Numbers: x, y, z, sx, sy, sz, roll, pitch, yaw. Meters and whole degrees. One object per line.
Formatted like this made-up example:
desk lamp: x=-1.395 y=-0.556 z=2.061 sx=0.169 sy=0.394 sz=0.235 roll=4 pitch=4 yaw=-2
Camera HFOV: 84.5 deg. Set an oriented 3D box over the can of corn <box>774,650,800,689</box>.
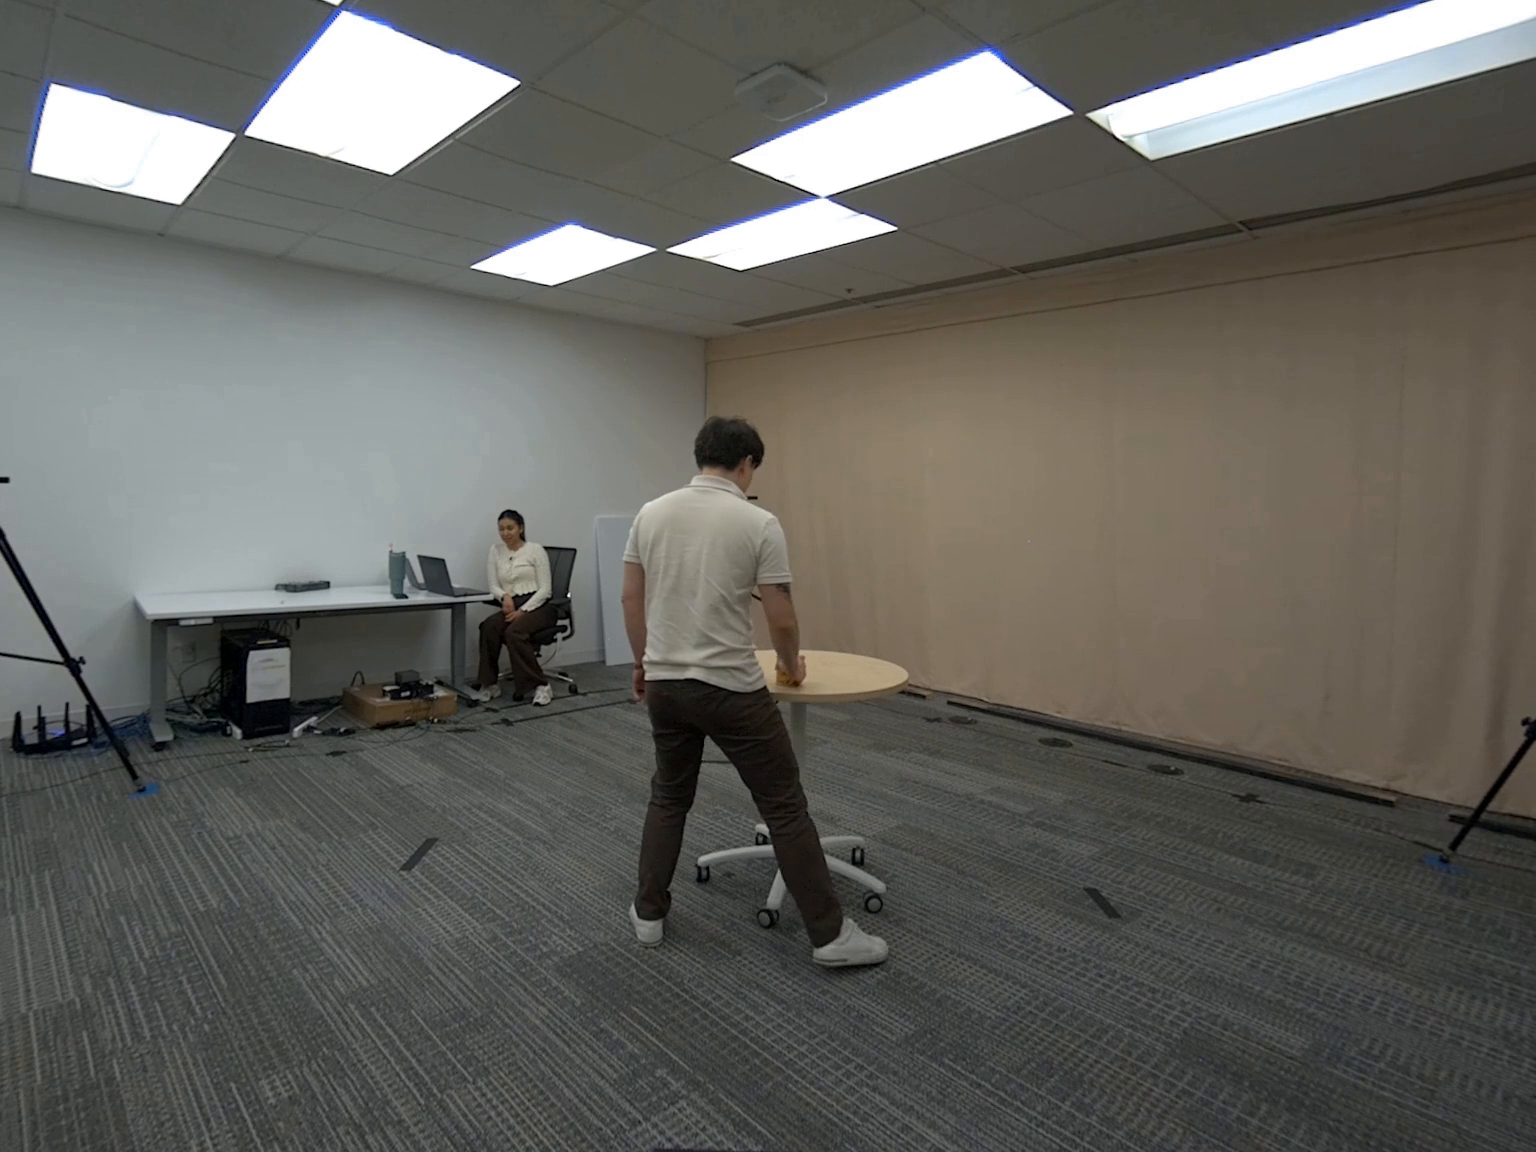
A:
can of corn: x=0.060 y=0.300 z=2.765 sx=0.074 sy=0.110 sz=0.074 roll=-1 pitch=5 yaw=-1
